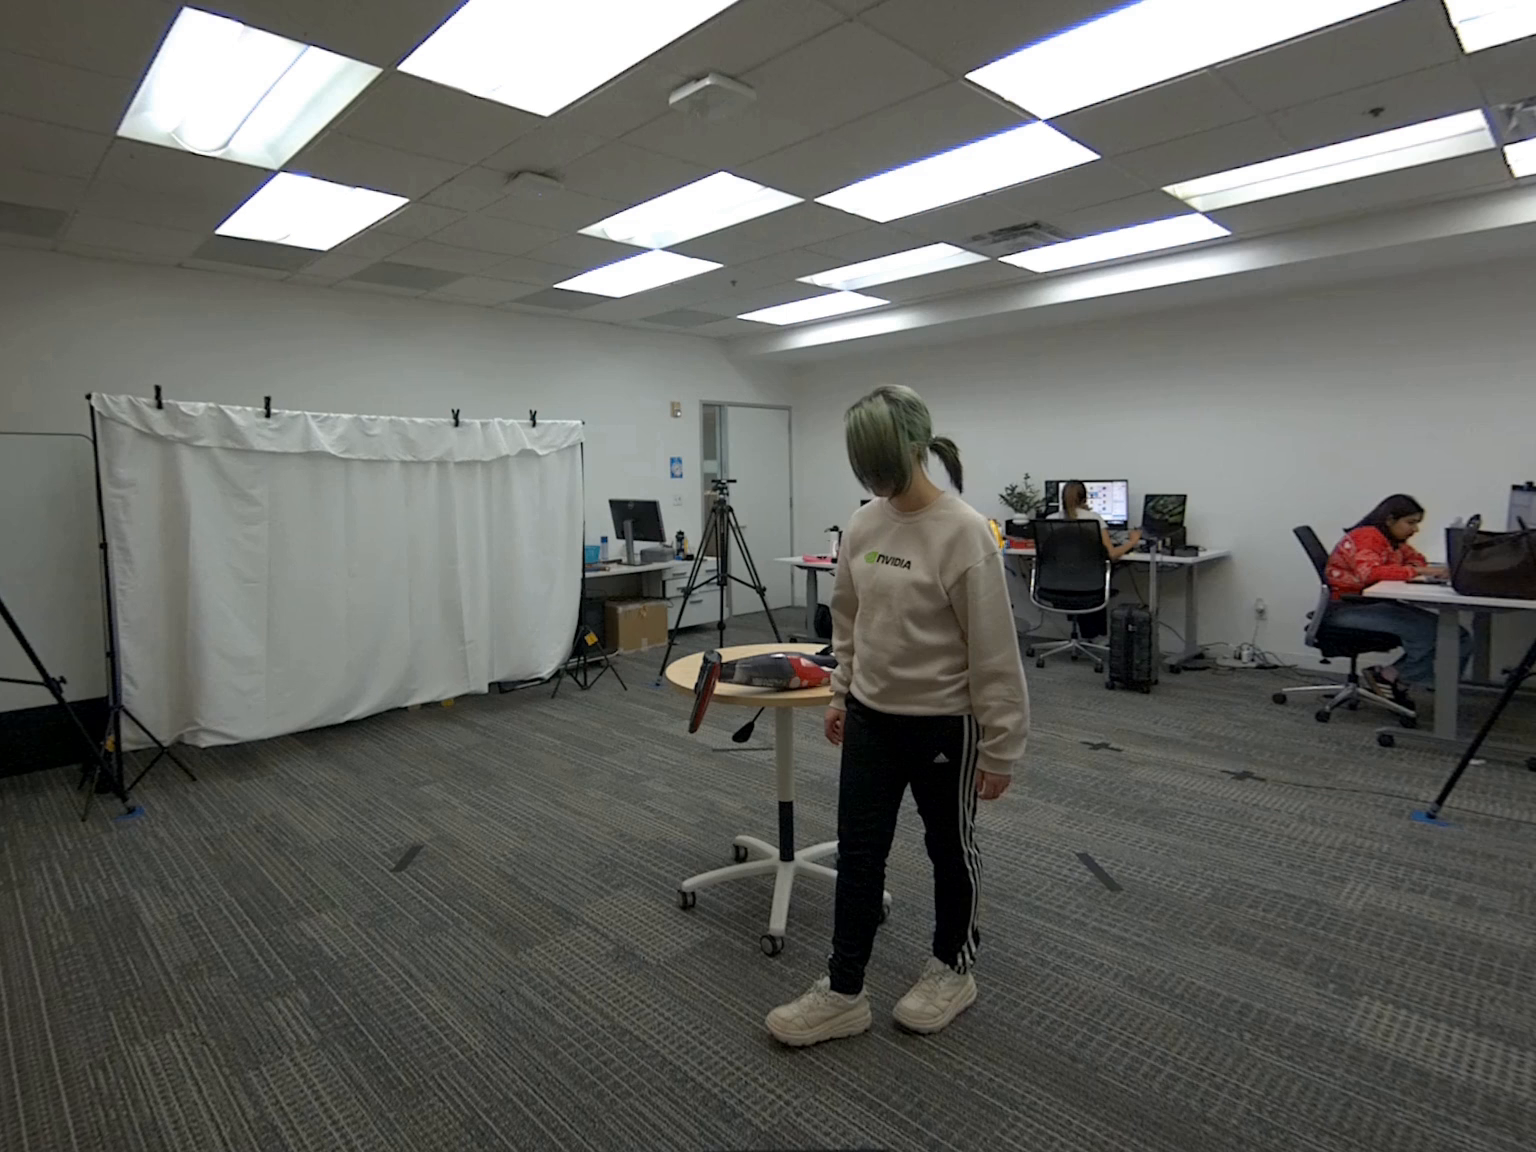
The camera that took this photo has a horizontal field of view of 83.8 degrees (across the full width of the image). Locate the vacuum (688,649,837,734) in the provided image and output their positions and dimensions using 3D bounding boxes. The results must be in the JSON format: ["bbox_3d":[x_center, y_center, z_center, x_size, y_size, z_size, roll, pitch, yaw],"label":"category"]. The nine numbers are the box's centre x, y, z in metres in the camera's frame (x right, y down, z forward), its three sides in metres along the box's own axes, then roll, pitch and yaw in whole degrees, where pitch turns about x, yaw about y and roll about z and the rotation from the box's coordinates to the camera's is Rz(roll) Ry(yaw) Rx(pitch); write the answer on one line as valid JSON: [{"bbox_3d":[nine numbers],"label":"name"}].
[{"bbox_3d":[0.251,0.283,2.621,1.024,0.249,0.150,-2,35,-30],"label":"vacuum"}]
